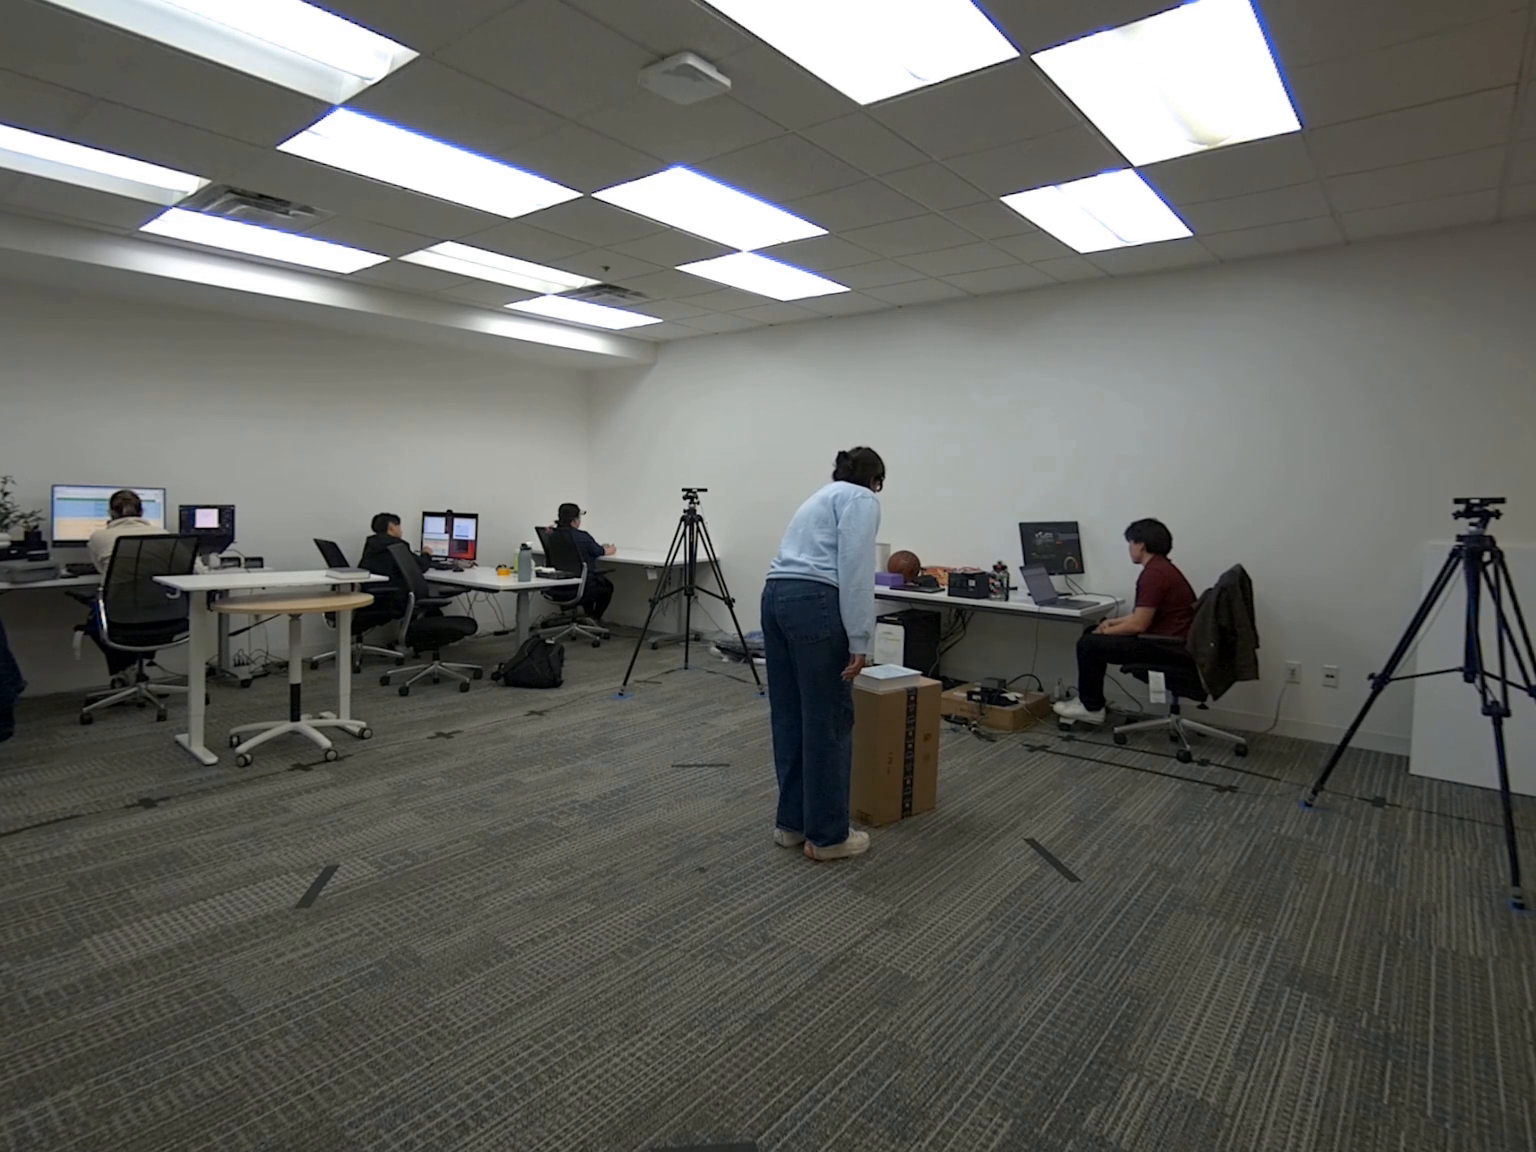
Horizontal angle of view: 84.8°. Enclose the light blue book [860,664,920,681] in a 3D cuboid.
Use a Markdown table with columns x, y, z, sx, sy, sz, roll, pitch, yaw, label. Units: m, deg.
| x | y | z | sx | sy | sz | roll | pitch | yaw | label |
| --- | --- | --- | --- | --- | --- | --- | --- | --- | --- |
| 0.501 | 0.437 | 3.672 | 0.253 | 0.059 | 0.198 | -4 | 9 | -38 | light blue book |
